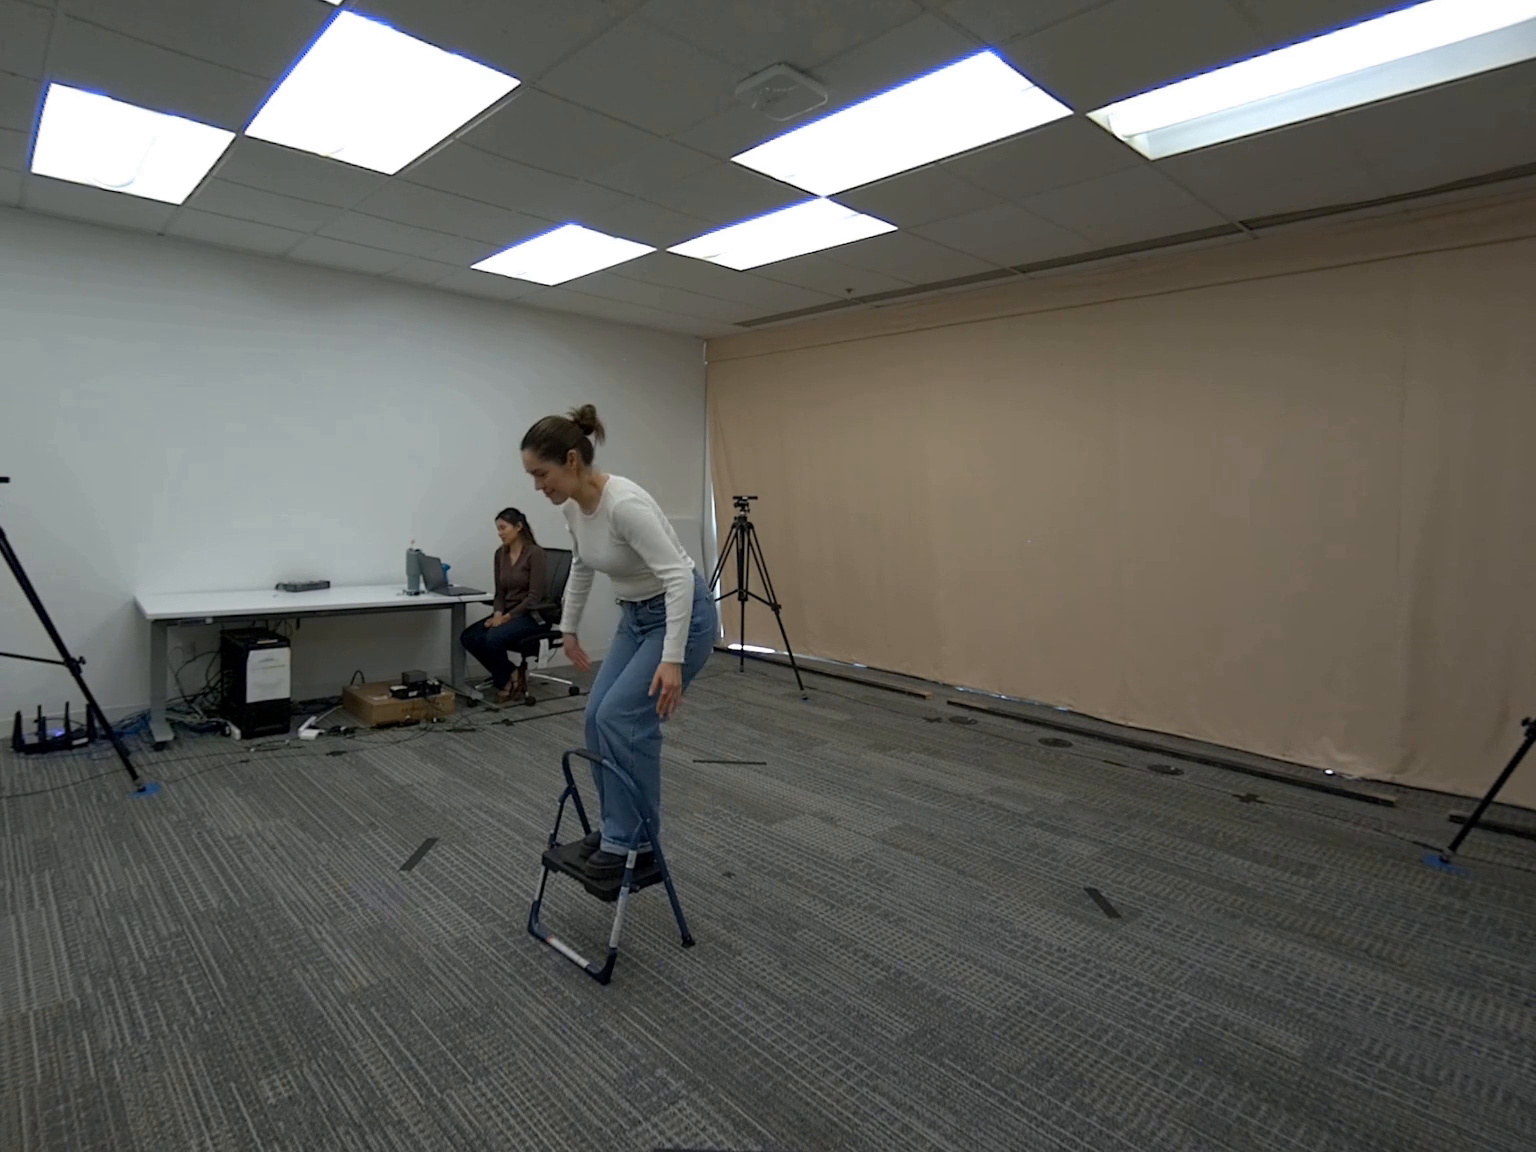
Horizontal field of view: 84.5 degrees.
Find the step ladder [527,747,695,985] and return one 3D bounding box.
[{"bbox_3d":[-0.501,0.841,2.628,0.441,0.604,0.341,4,5,43],"label":"step ladder"}]
